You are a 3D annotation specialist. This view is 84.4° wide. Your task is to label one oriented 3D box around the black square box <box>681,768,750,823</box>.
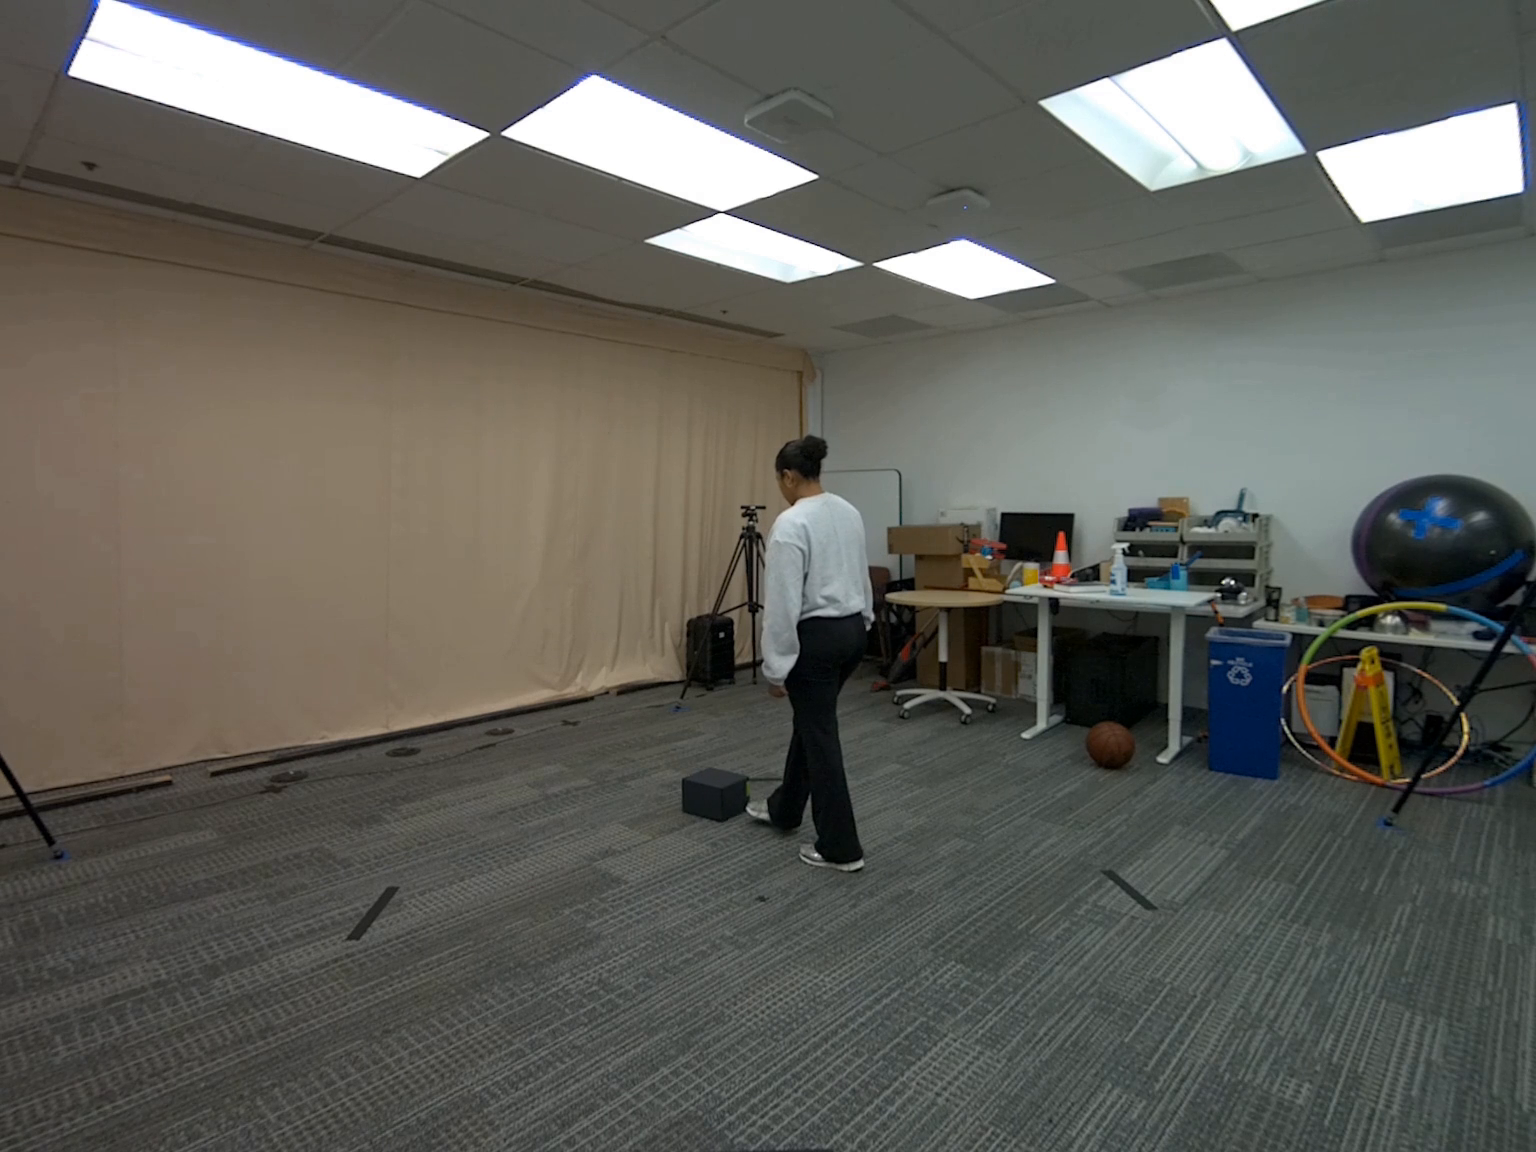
[{"bbox_3d":[-0.221,0.991,3.840,0.235,0.155,0.211,2,4,36],"label":"black square box"}]
